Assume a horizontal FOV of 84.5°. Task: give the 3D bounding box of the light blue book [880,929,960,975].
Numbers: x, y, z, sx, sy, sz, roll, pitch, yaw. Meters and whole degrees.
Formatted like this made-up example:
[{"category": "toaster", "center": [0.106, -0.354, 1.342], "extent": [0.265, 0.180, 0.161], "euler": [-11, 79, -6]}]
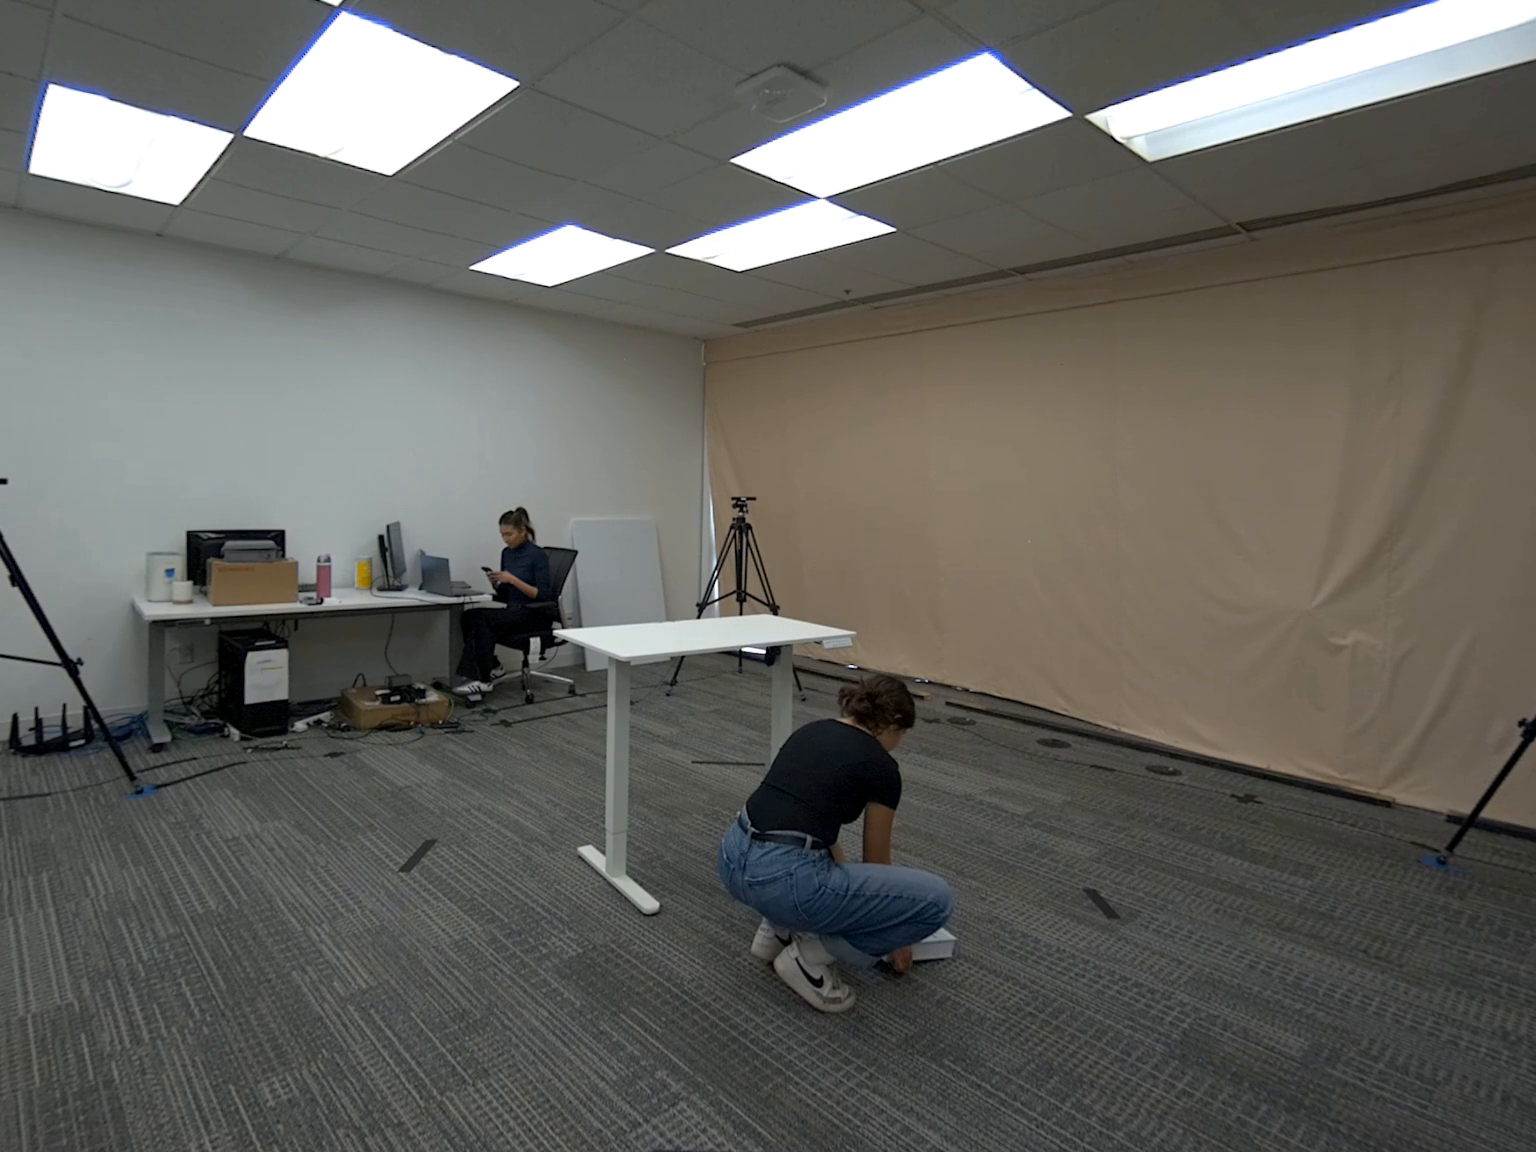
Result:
[{"category": "light blue book", "center": [0.422, 1.124, 2.607], "extent": [0.255, 0.059, 0.196], "euler": [6, 4, -33]}]
